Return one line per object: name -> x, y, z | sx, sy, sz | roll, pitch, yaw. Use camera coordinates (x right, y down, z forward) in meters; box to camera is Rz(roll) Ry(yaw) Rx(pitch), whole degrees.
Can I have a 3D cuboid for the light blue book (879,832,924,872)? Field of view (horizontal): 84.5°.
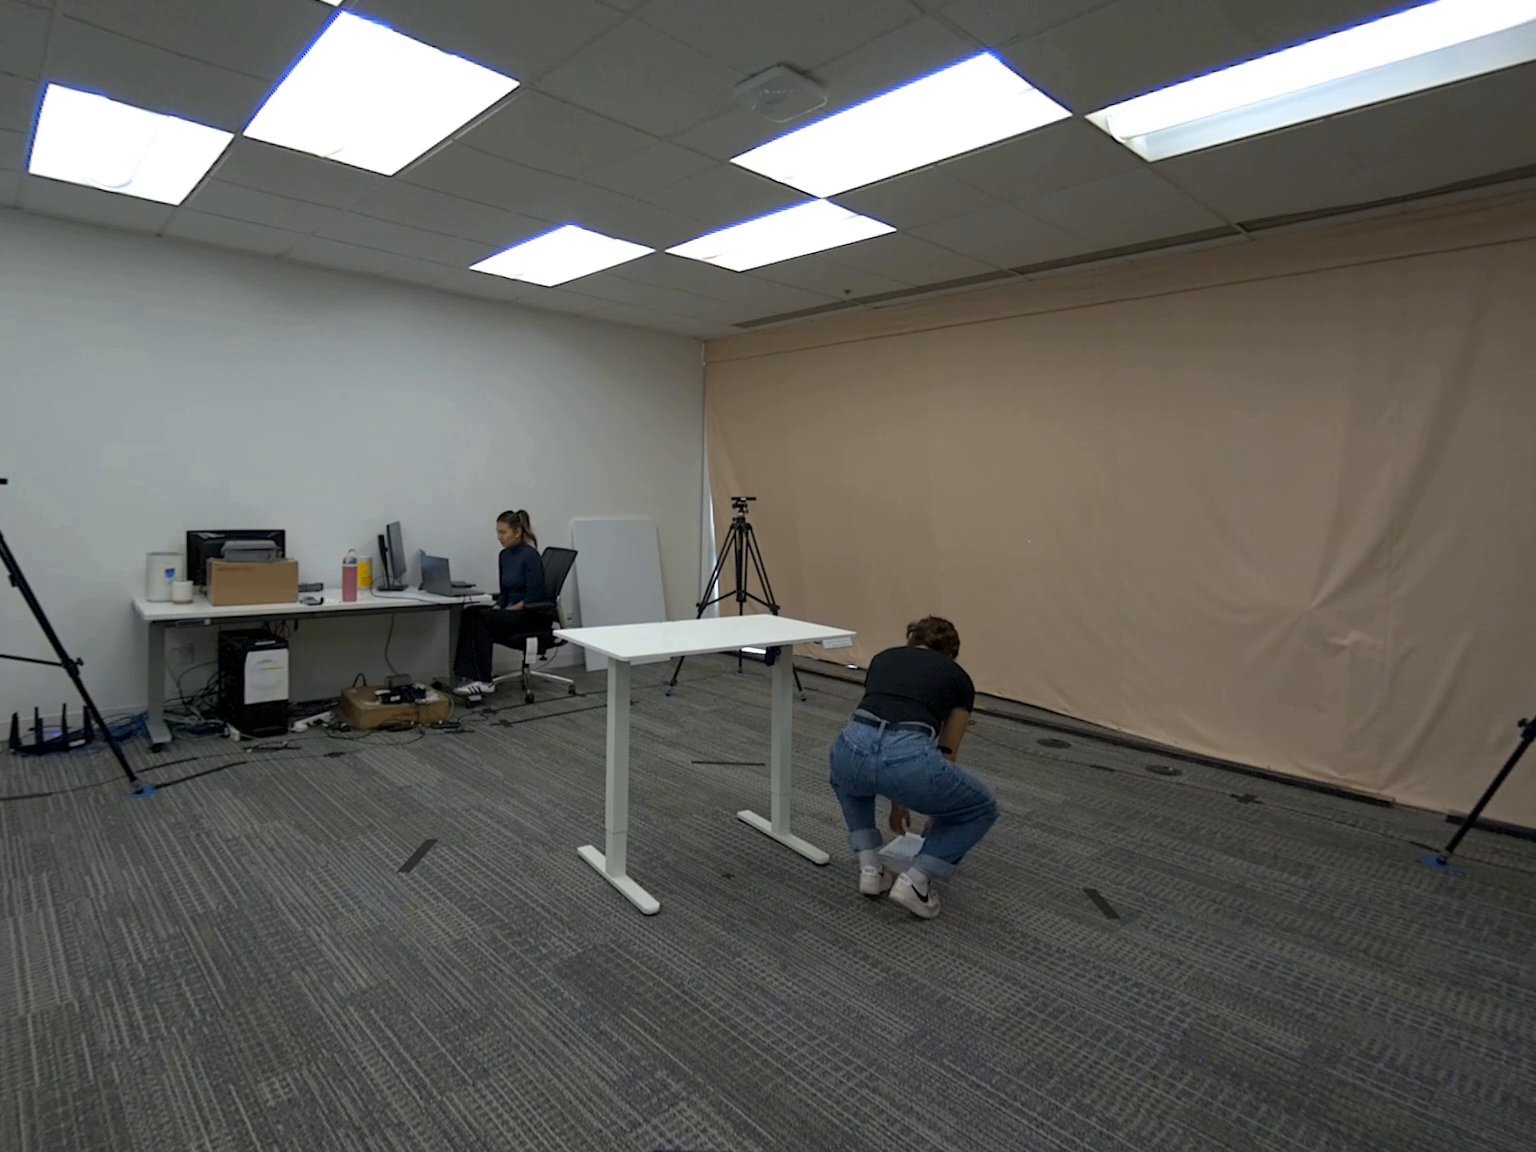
light blue book -> 0.553, 1.078, 3.252 | 0.196, 0.059, 0.256 | 5, 6, 32
